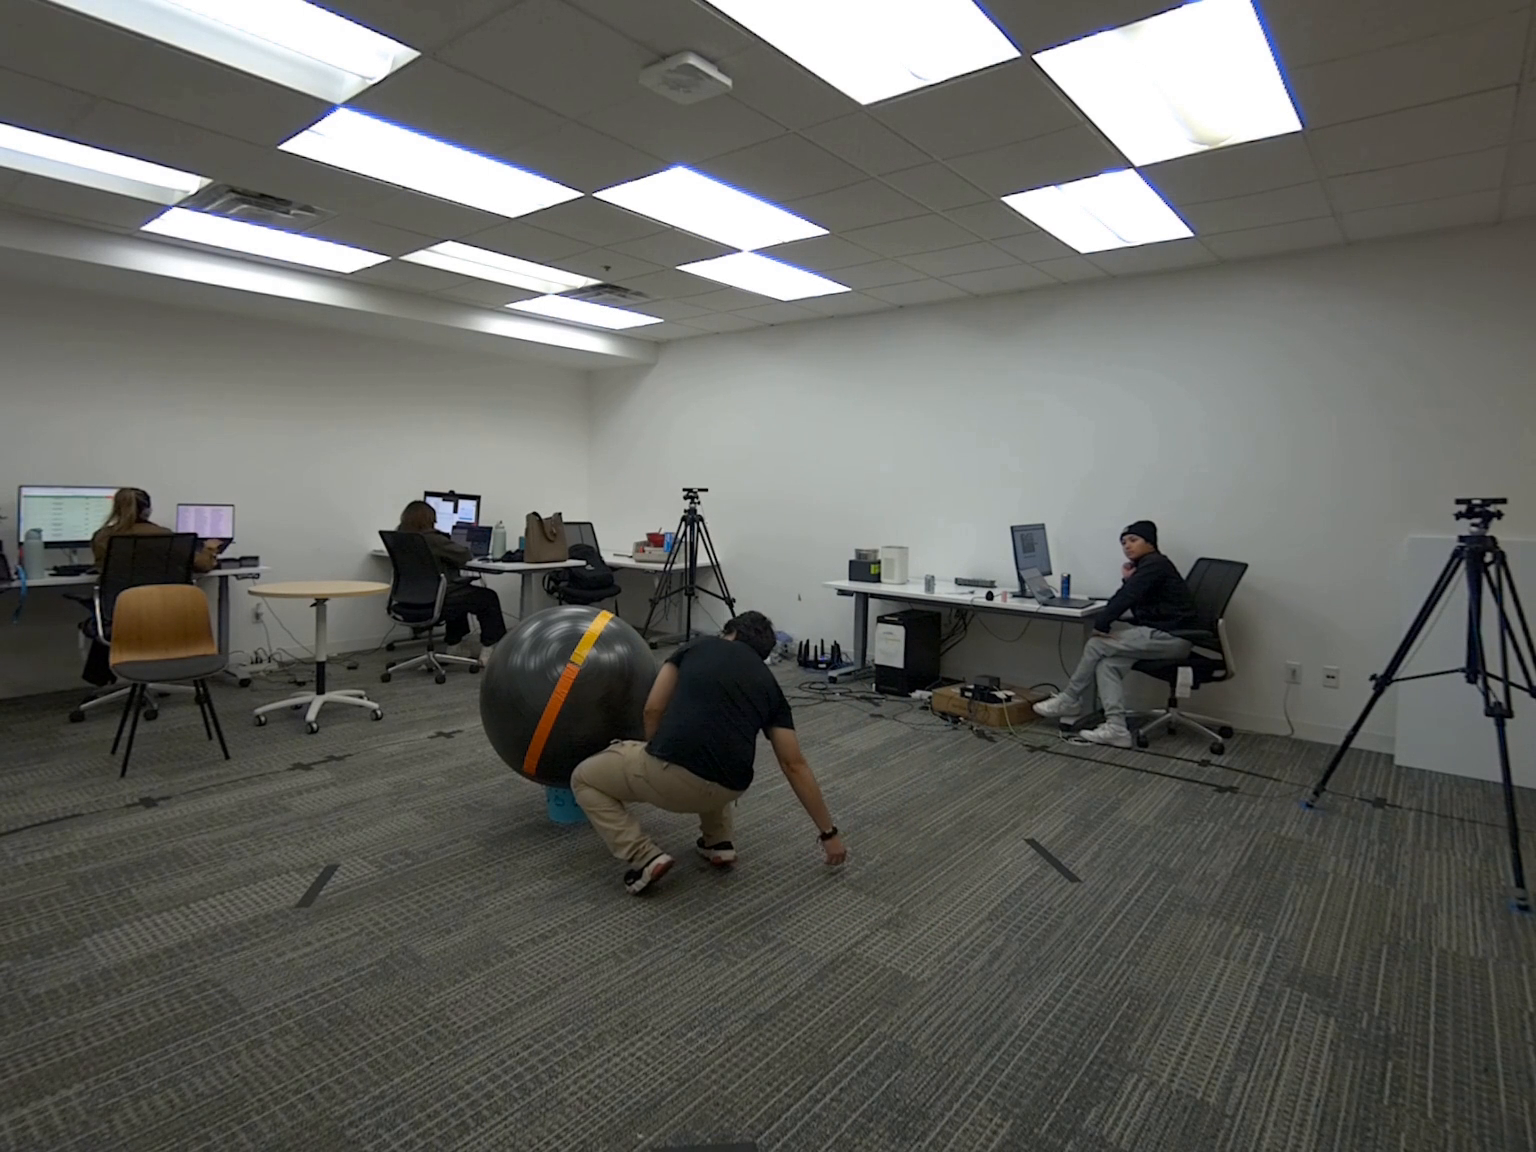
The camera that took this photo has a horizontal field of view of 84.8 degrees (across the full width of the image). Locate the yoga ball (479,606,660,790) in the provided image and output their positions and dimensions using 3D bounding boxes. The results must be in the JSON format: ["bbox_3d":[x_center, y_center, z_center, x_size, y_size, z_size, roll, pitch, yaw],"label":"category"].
[{"bbox_3d":[-0.841,0.506,3.588,0.757,0.755,0.762,1,4,-2],"label":"yoga ball"}]
